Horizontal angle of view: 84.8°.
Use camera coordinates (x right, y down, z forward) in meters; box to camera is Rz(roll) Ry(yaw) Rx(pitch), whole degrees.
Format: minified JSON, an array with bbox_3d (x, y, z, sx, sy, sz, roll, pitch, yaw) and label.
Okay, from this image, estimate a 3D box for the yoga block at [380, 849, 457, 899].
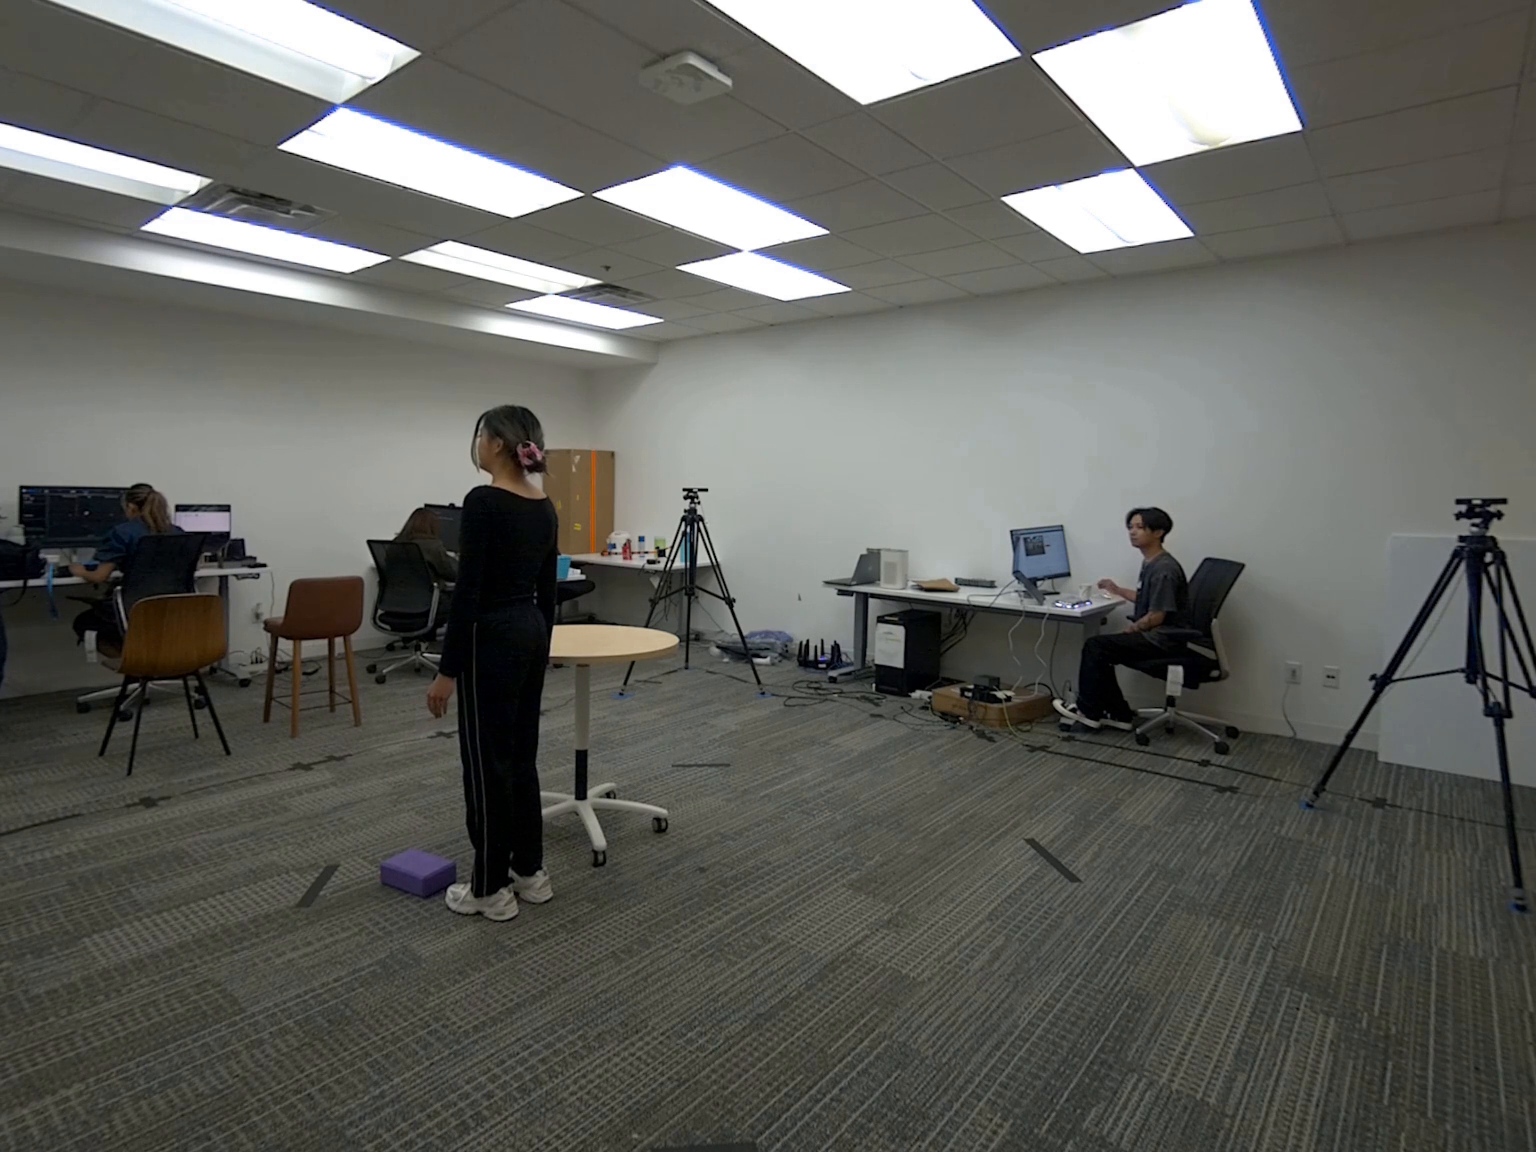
[{"bbox_3d":[-1.235,1.032,2.969,0.236,0.076,0.145,4,7,30],"label":"yoga block"}]
